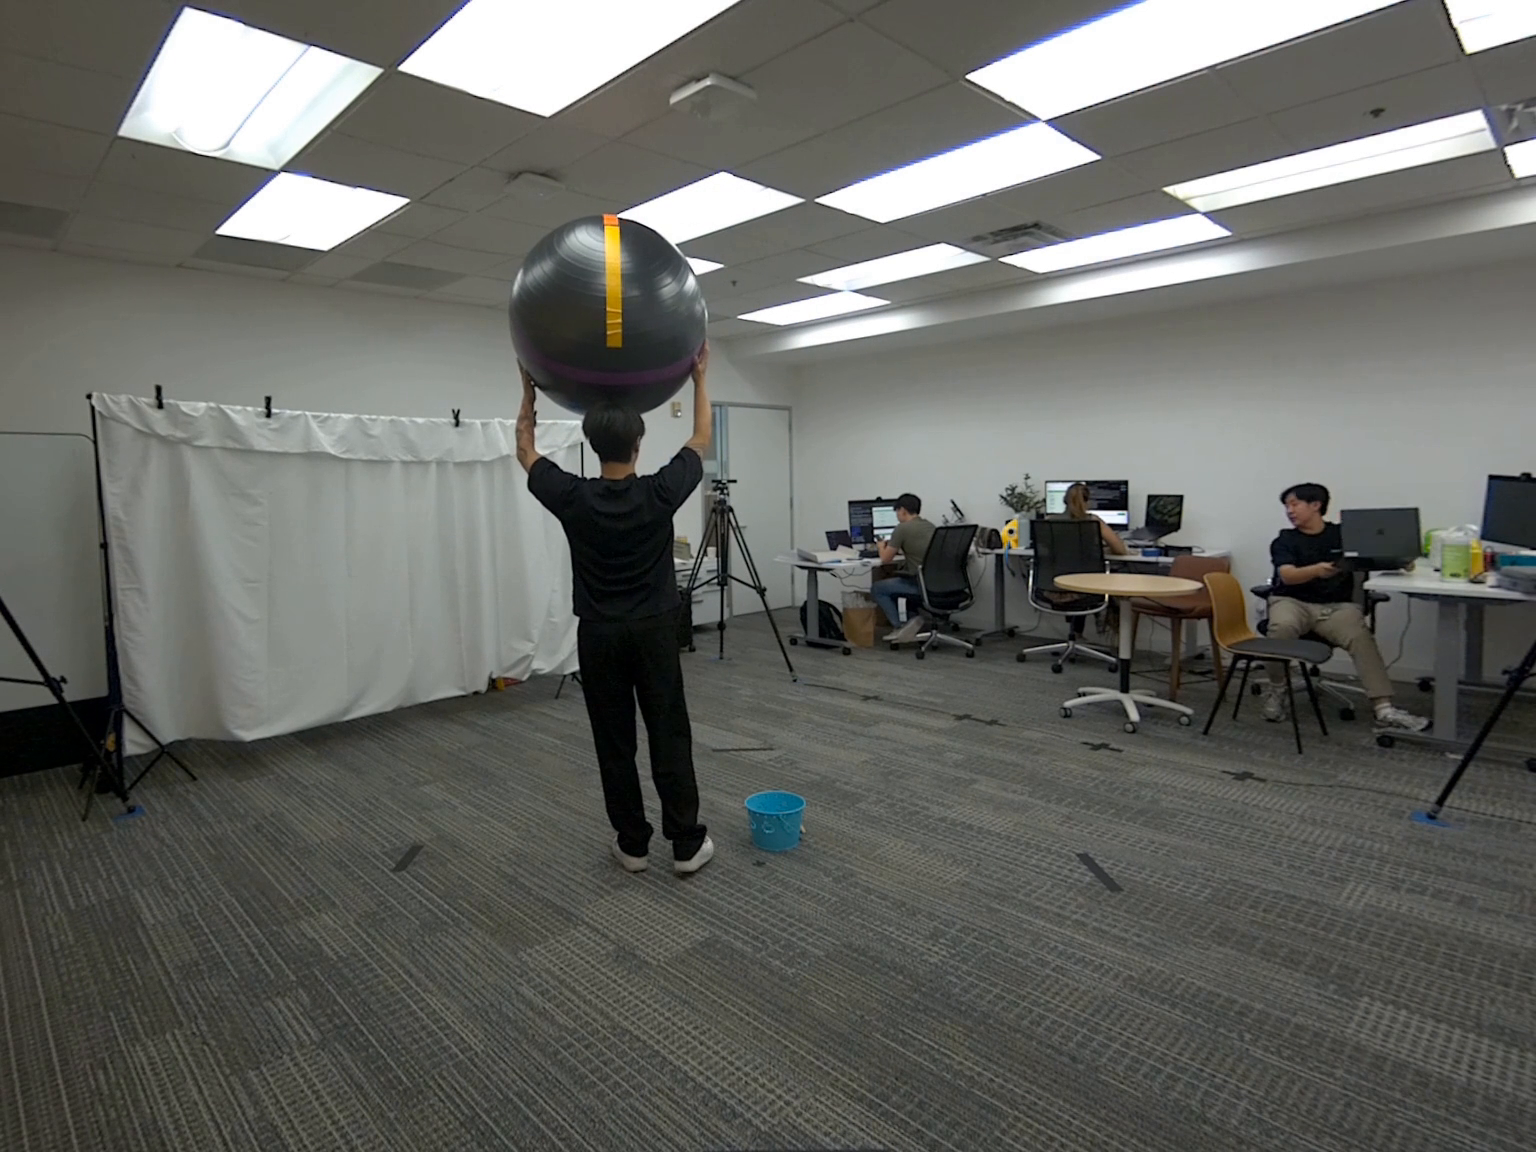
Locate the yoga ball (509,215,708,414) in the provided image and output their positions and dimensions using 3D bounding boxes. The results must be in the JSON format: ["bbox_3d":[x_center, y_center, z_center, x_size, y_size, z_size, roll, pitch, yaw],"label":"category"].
[{"bbox_3d":[-0.612,-0.982,3.291,0.757,0.755,0.762,-1,5,-2],"label":"yoga ball"}]
